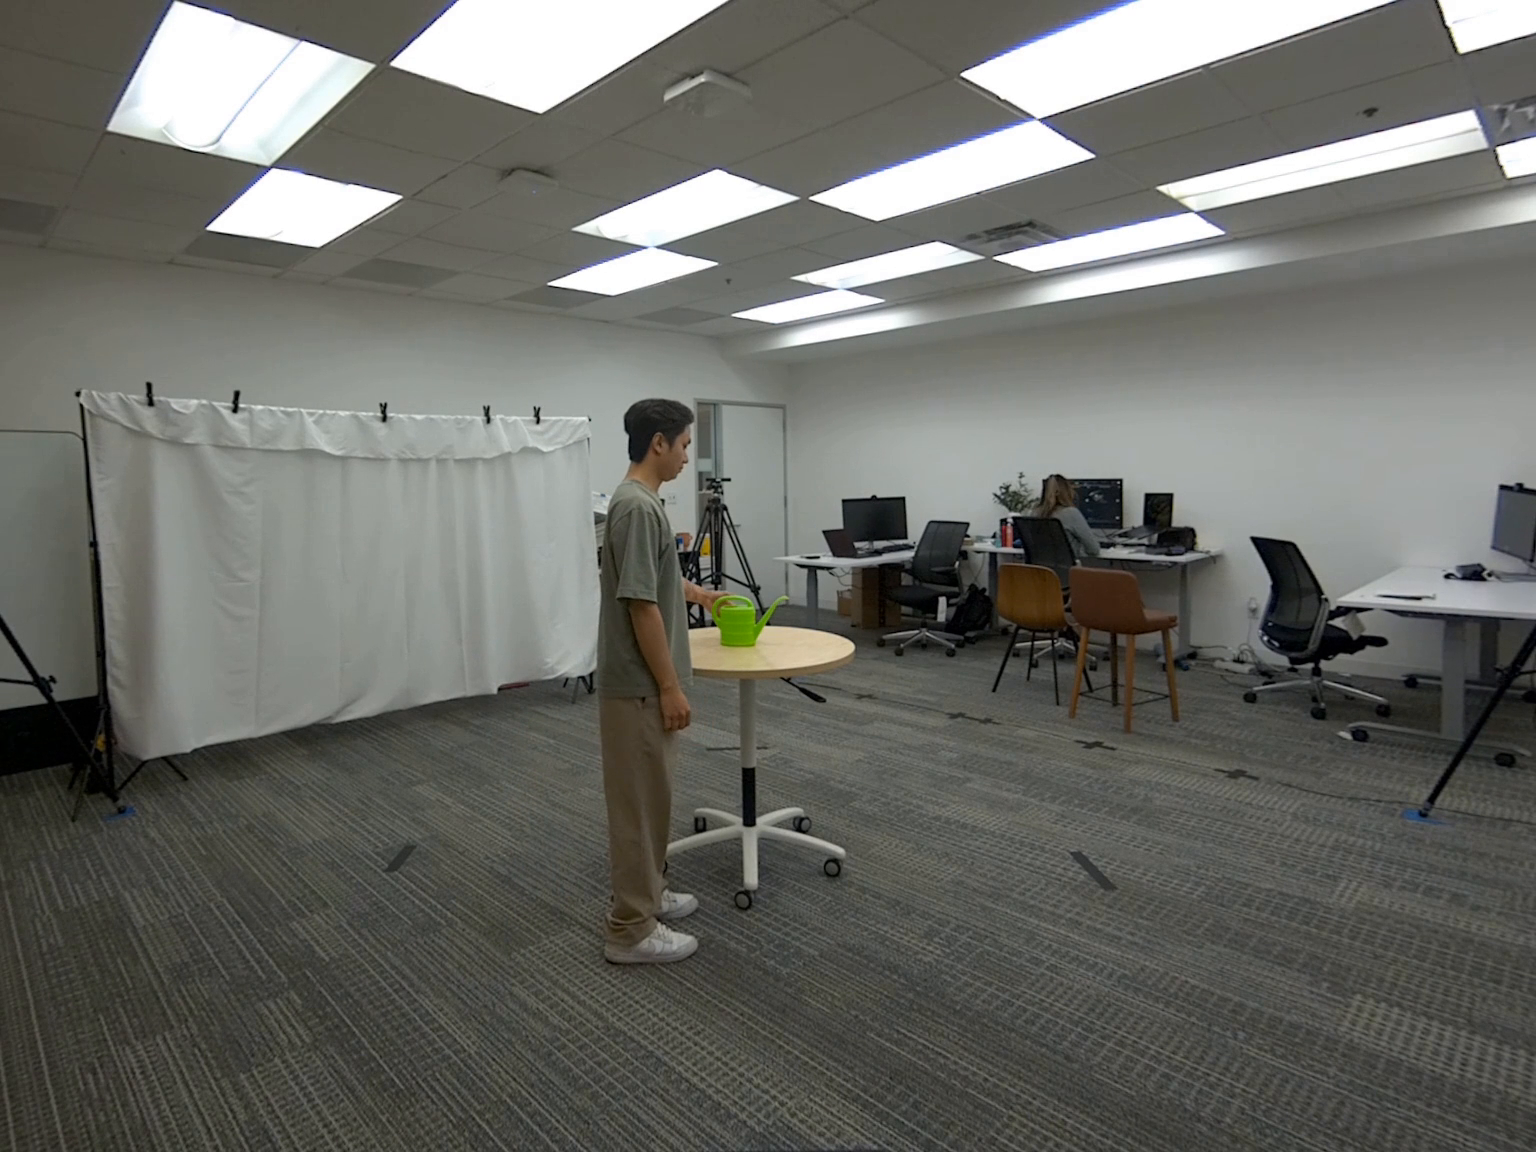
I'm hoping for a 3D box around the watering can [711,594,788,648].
[{"bbox_3d":[-0.067,0.168,3.050,0.286,0.176,0.095,2,6,36],"label":"watering can"}]
